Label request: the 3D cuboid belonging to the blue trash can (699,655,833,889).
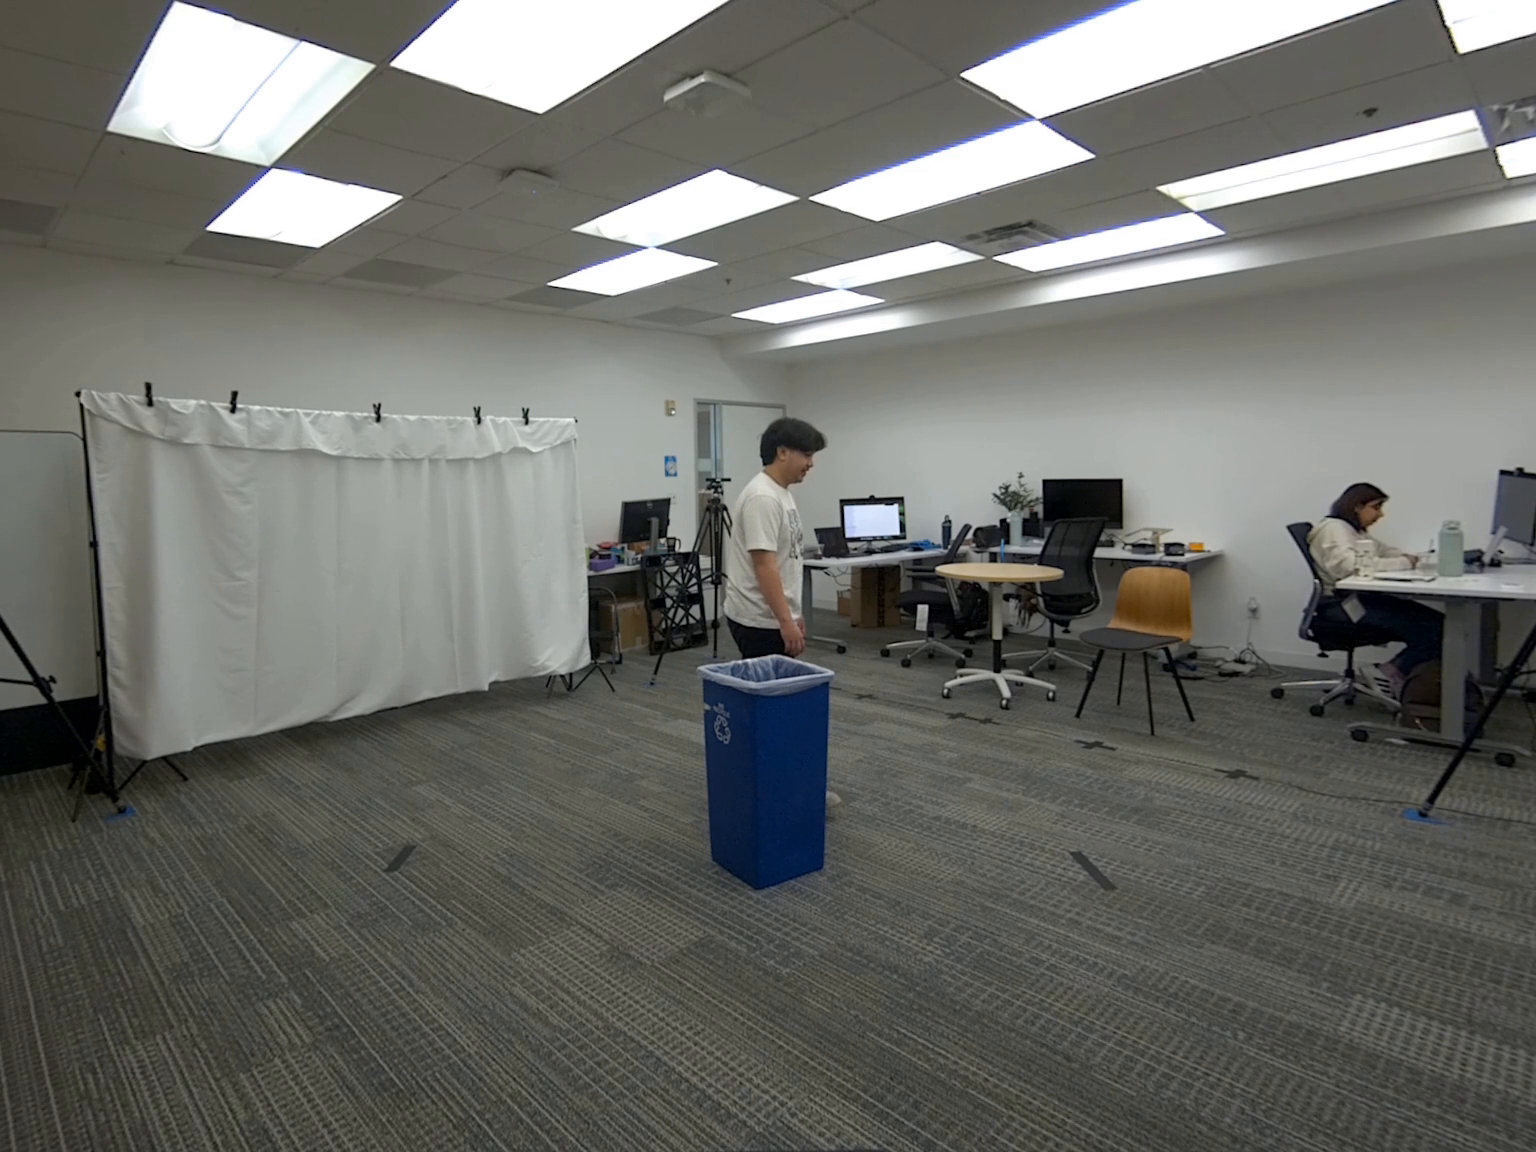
[{"bbox_3d":[-0.001,0.689,3.071,0.368,0.711,0.385,-4,5,-36],"label":"blue trash can"}]
